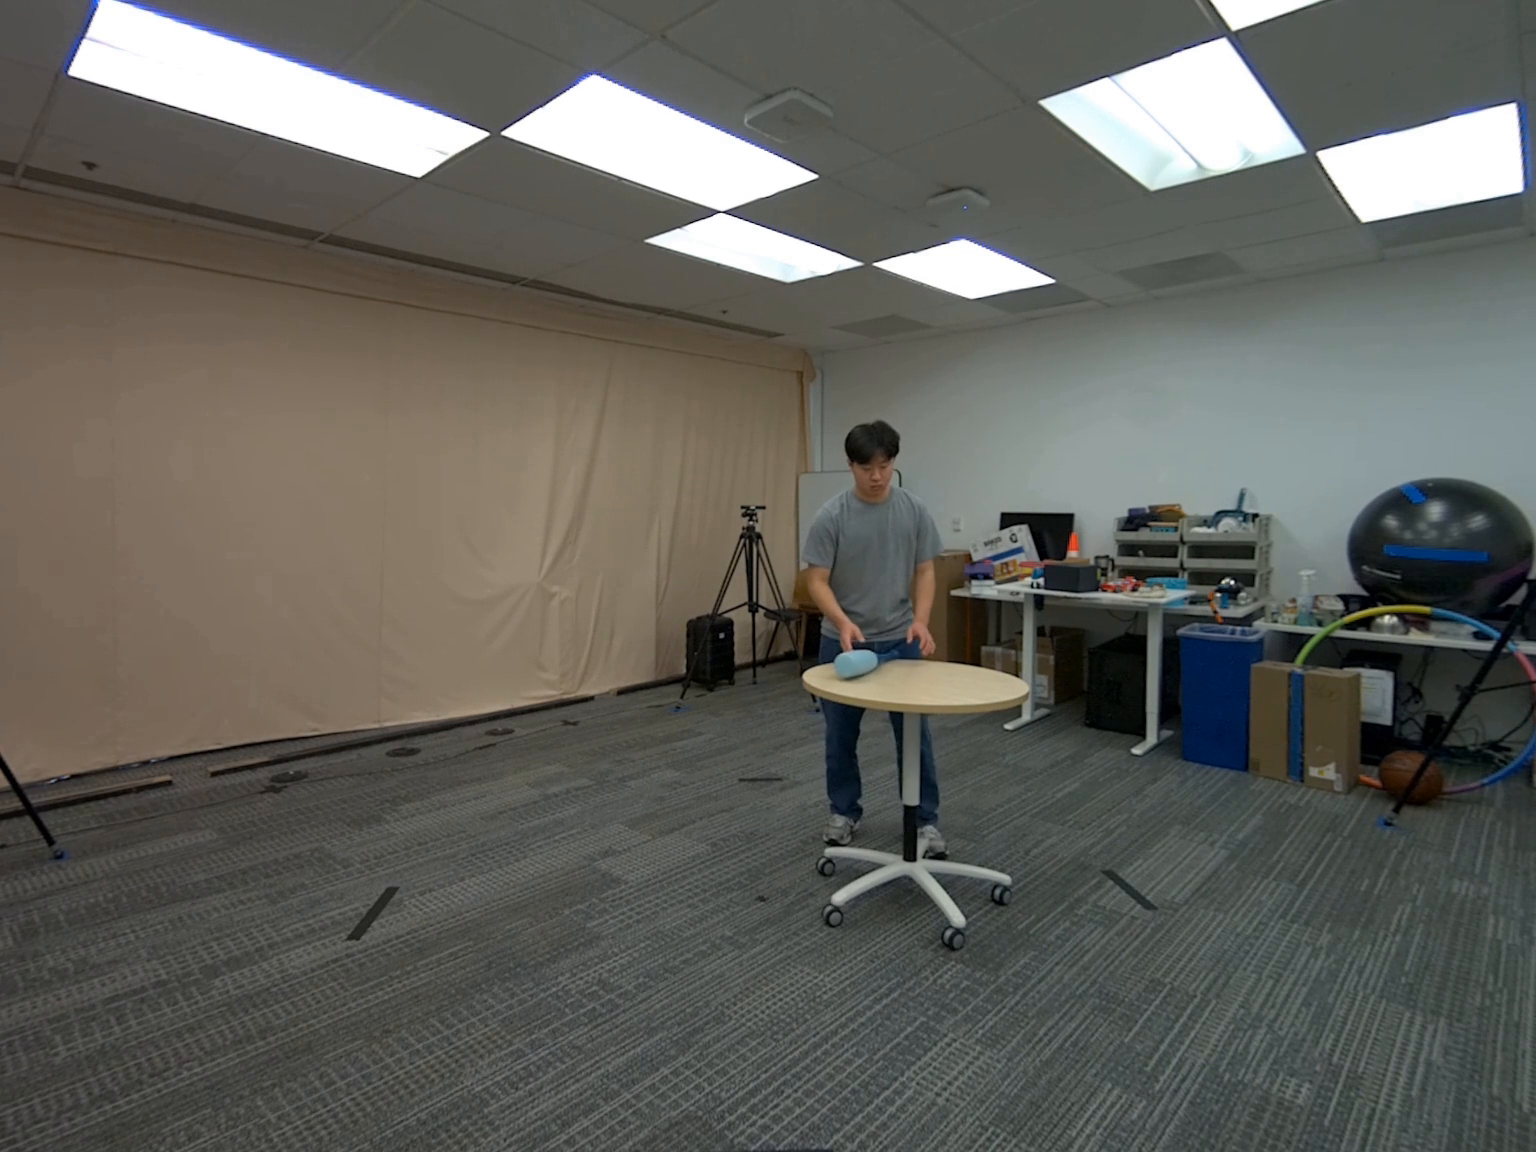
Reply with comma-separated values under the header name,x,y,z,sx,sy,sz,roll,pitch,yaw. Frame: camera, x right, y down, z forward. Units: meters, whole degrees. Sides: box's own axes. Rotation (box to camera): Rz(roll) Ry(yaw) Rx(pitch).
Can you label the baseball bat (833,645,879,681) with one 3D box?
name,x,y,z,sx,sy,sz,roll,pitch,yaw
baseball bat,0.381,0.313,3.127,0.091,0.089,0.528,2,-1,26
